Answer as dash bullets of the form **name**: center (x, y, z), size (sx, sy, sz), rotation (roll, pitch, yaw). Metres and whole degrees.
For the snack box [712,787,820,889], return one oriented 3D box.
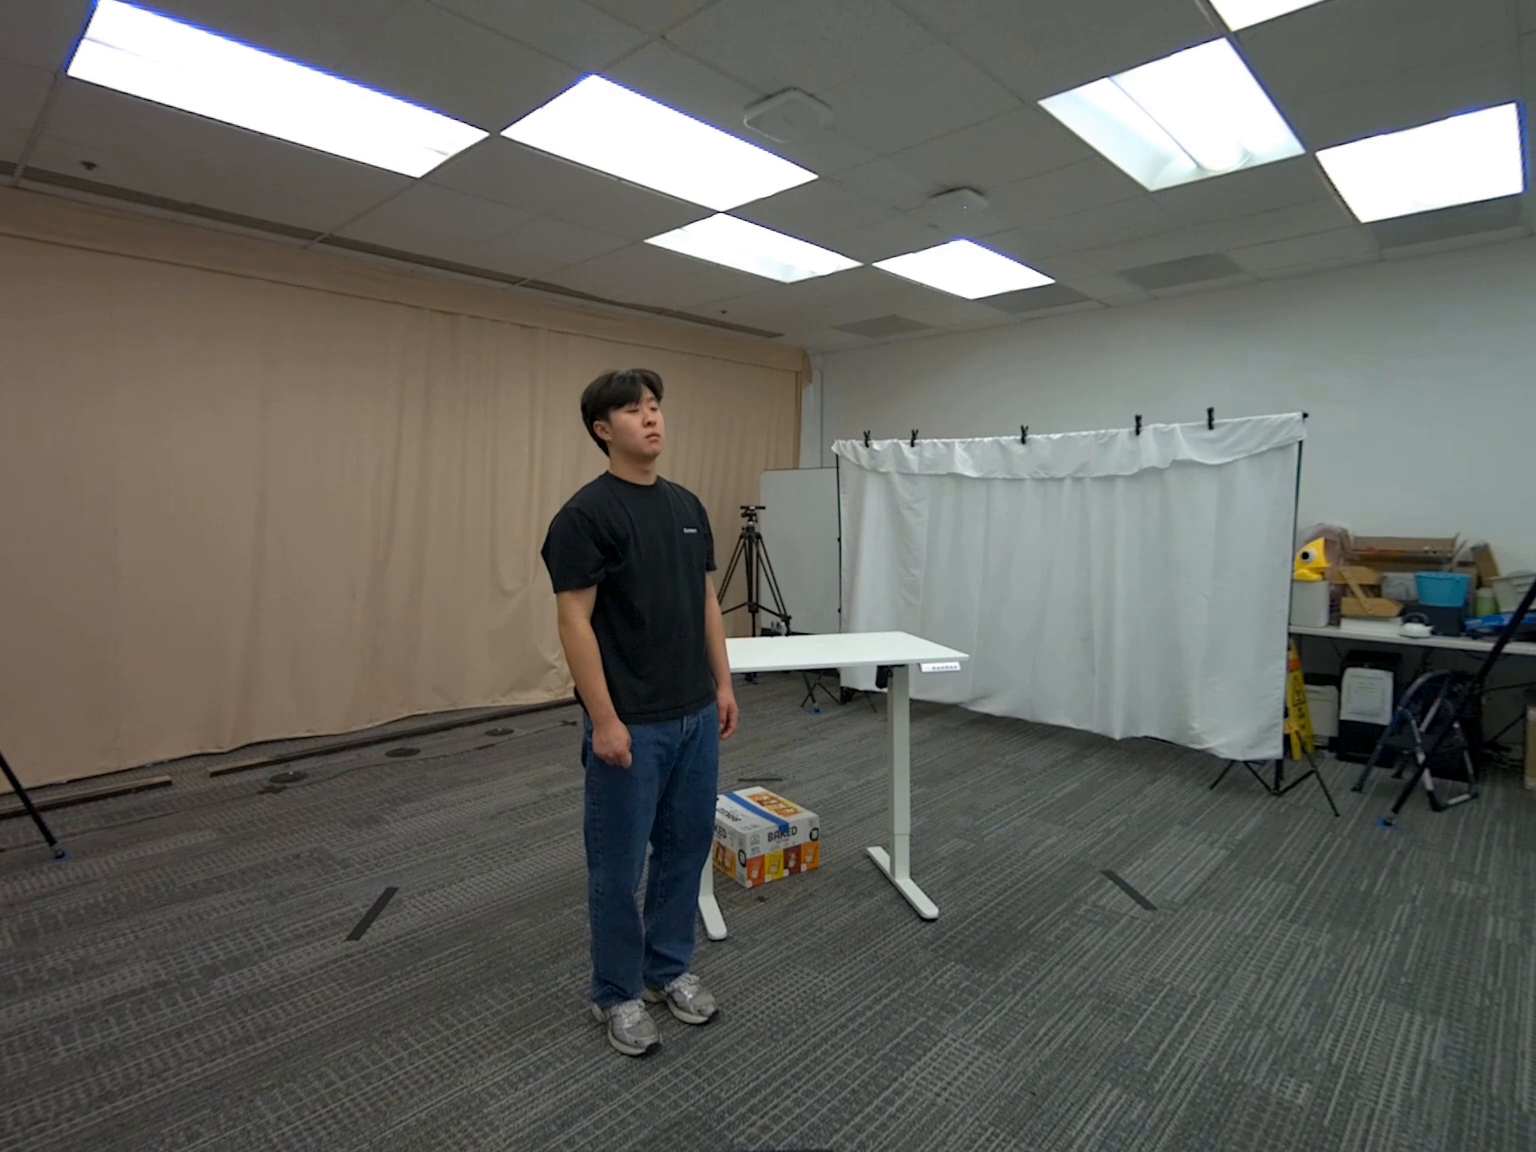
- **snack box**: center (-0.057, 1.015, 3.313), size (0.331, 0.205, 0.418), rotation (-3, 6, -33)
